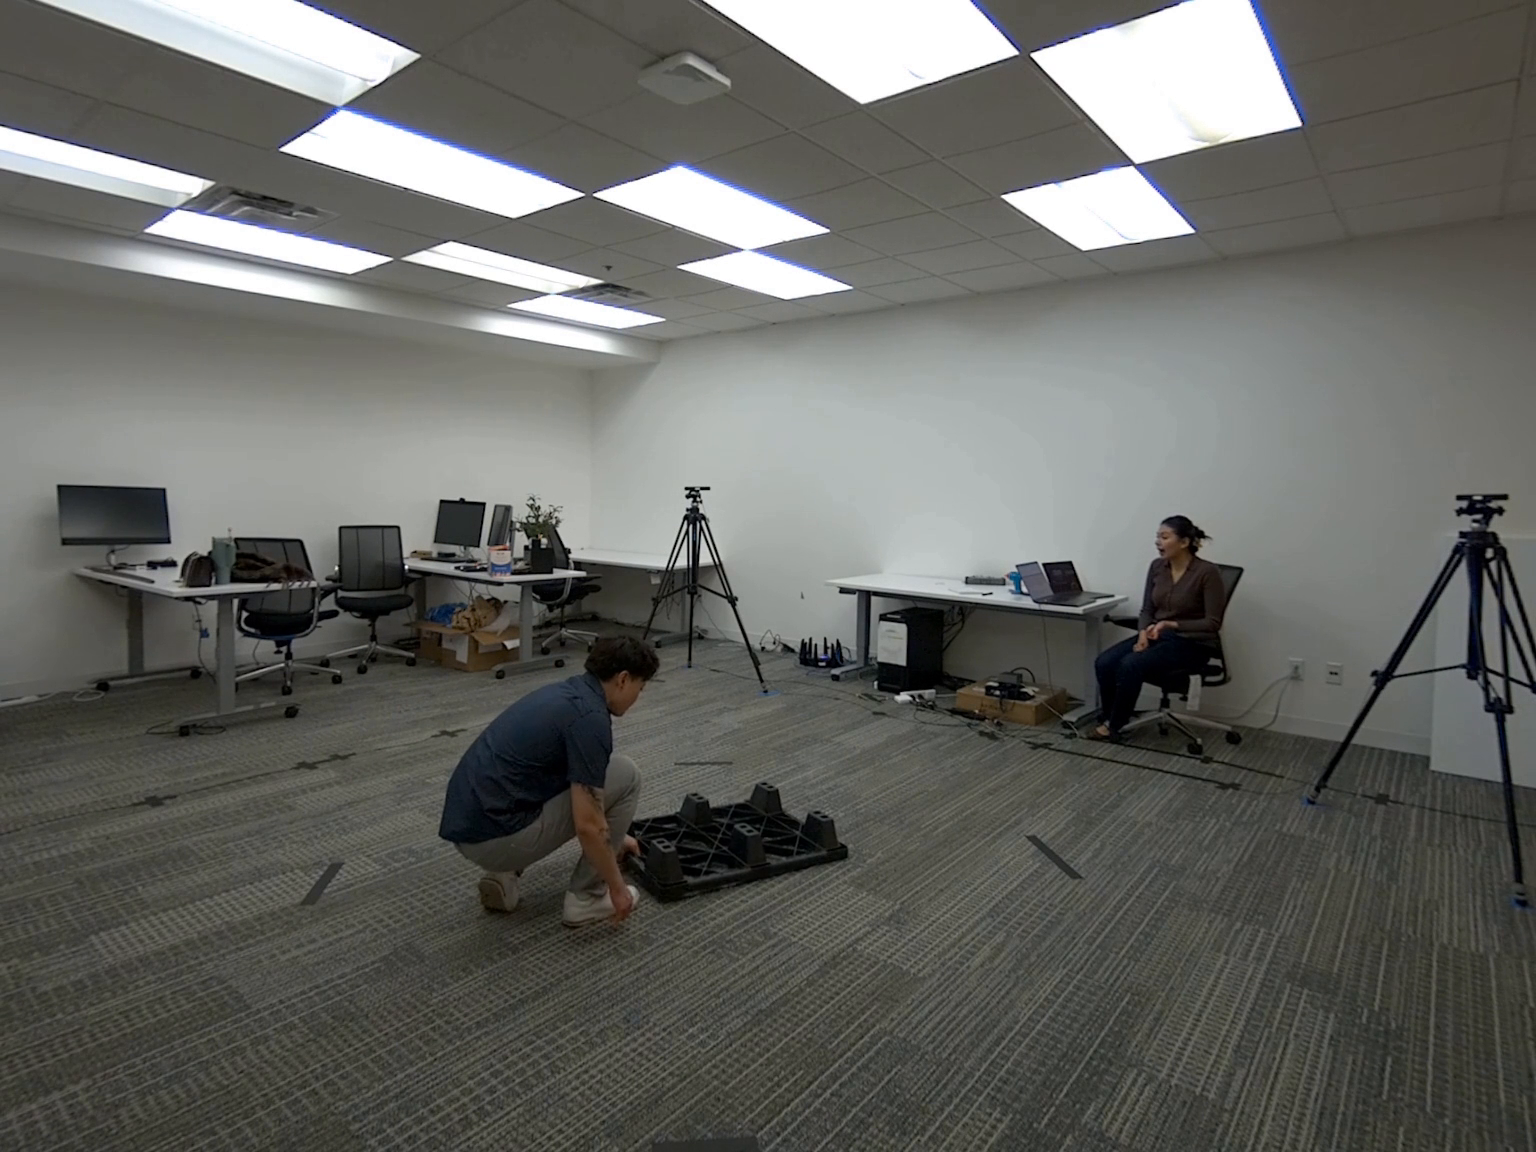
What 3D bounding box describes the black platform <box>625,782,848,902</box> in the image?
[{"bbox_3d":[-0.193,0.974,3.262,0.783,0.143,0.625,-1,6,-33],"label":"black platform"}]
